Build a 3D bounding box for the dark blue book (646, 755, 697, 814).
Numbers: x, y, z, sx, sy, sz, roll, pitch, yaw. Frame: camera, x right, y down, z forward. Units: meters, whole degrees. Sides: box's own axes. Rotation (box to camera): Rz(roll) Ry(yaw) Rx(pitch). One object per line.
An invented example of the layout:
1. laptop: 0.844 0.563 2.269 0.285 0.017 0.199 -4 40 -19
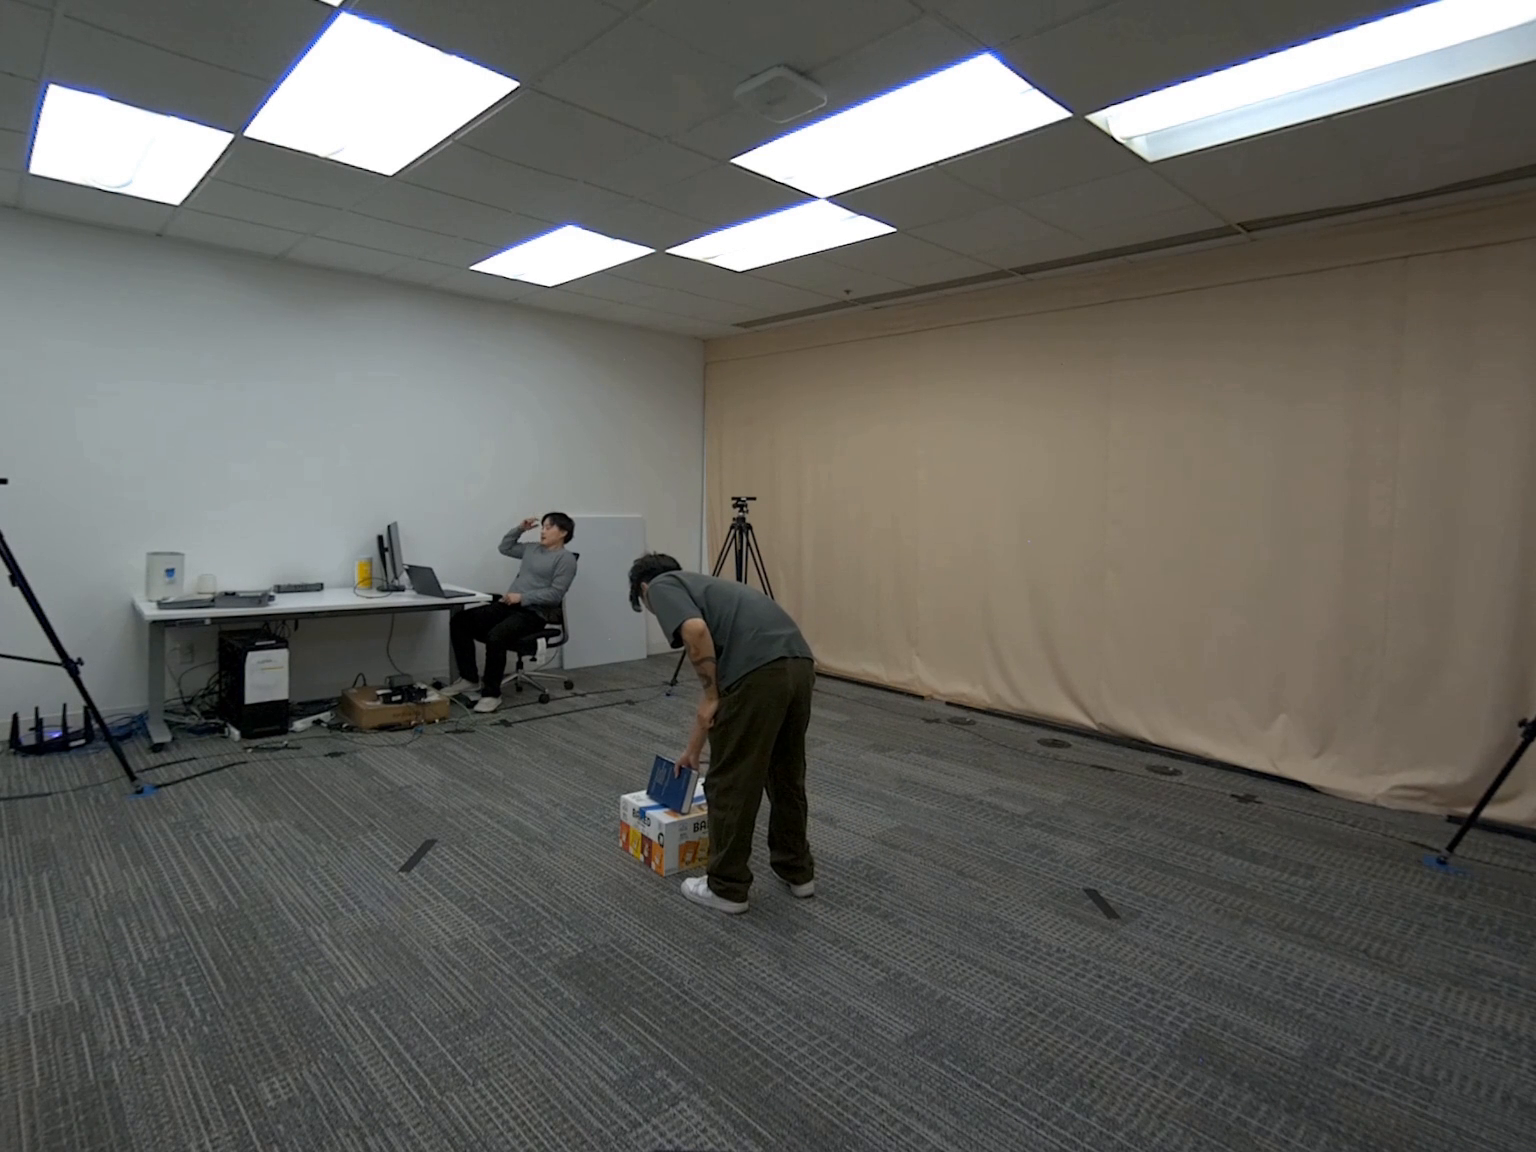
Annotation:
1. dark blue book: -0.381 0.809 3.277 0.044 0.164 0.251 20 -8 -38
